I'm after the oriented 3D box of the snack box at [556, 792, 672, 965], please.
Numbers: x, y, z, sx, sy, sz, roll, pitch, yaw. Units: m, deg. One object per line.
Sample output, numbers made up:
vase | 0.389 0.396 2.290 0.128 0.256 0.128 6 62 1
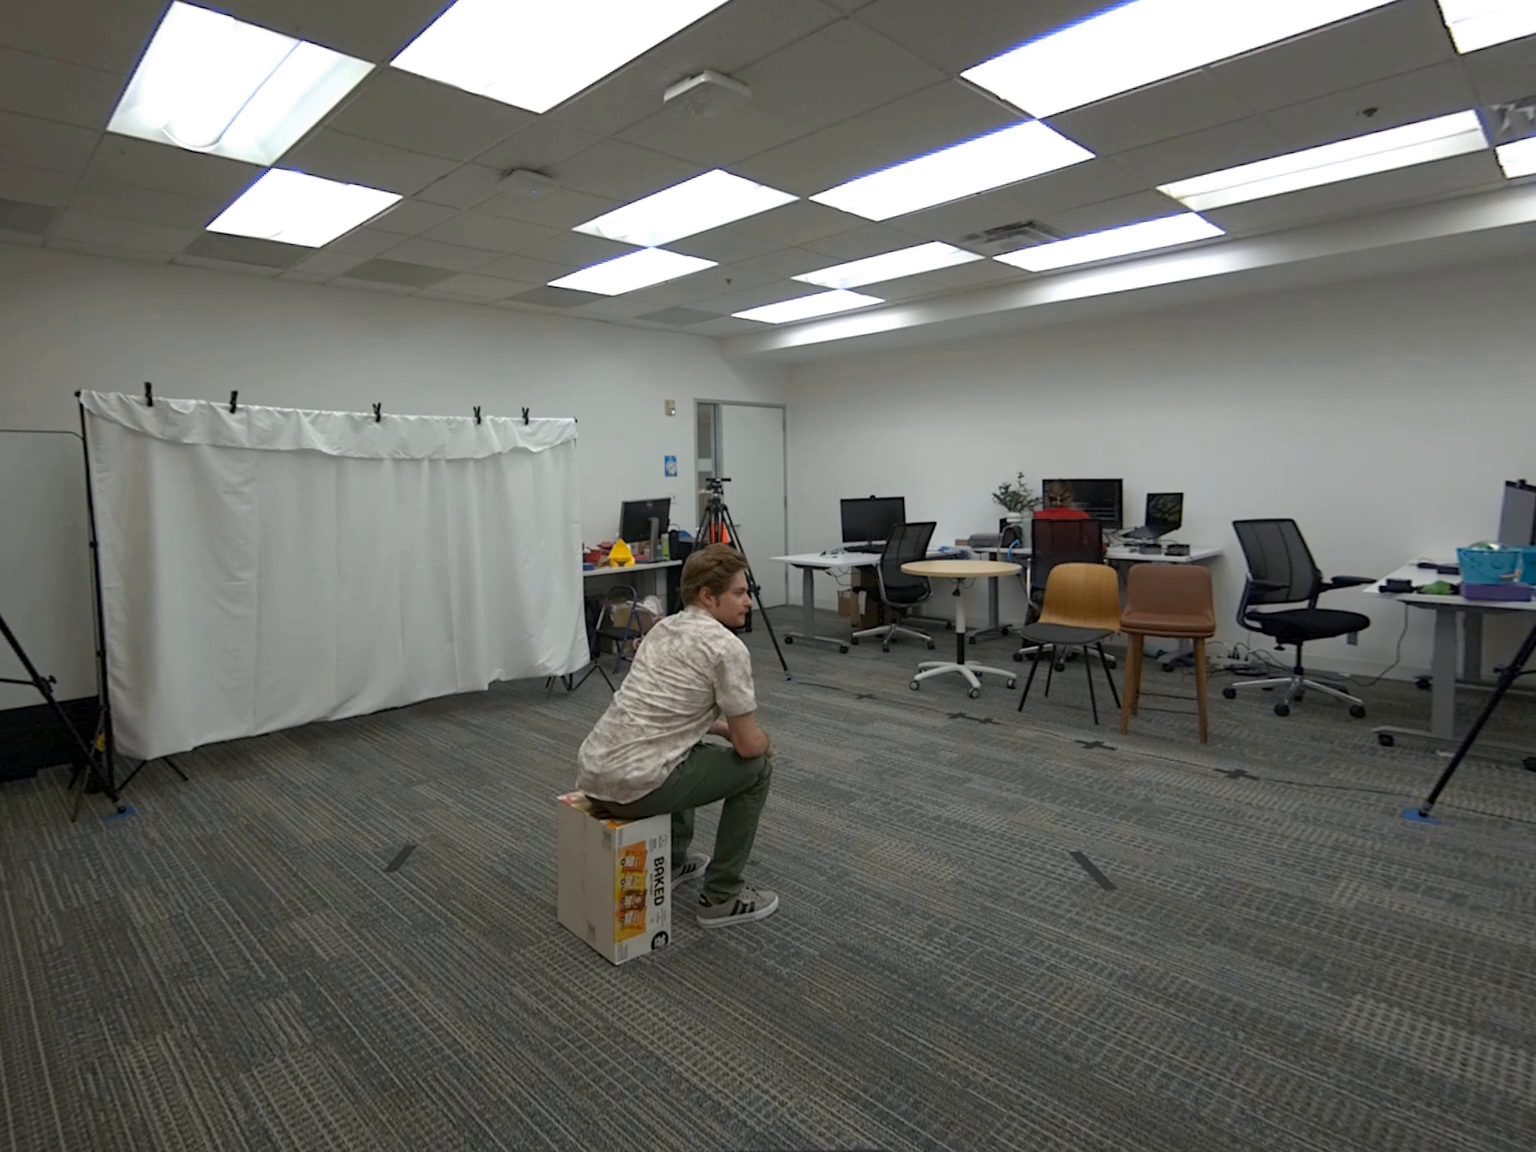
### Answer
snack box | -0.479 0.905 2.641 0.200 0.404 0.351 -2 5 -42
